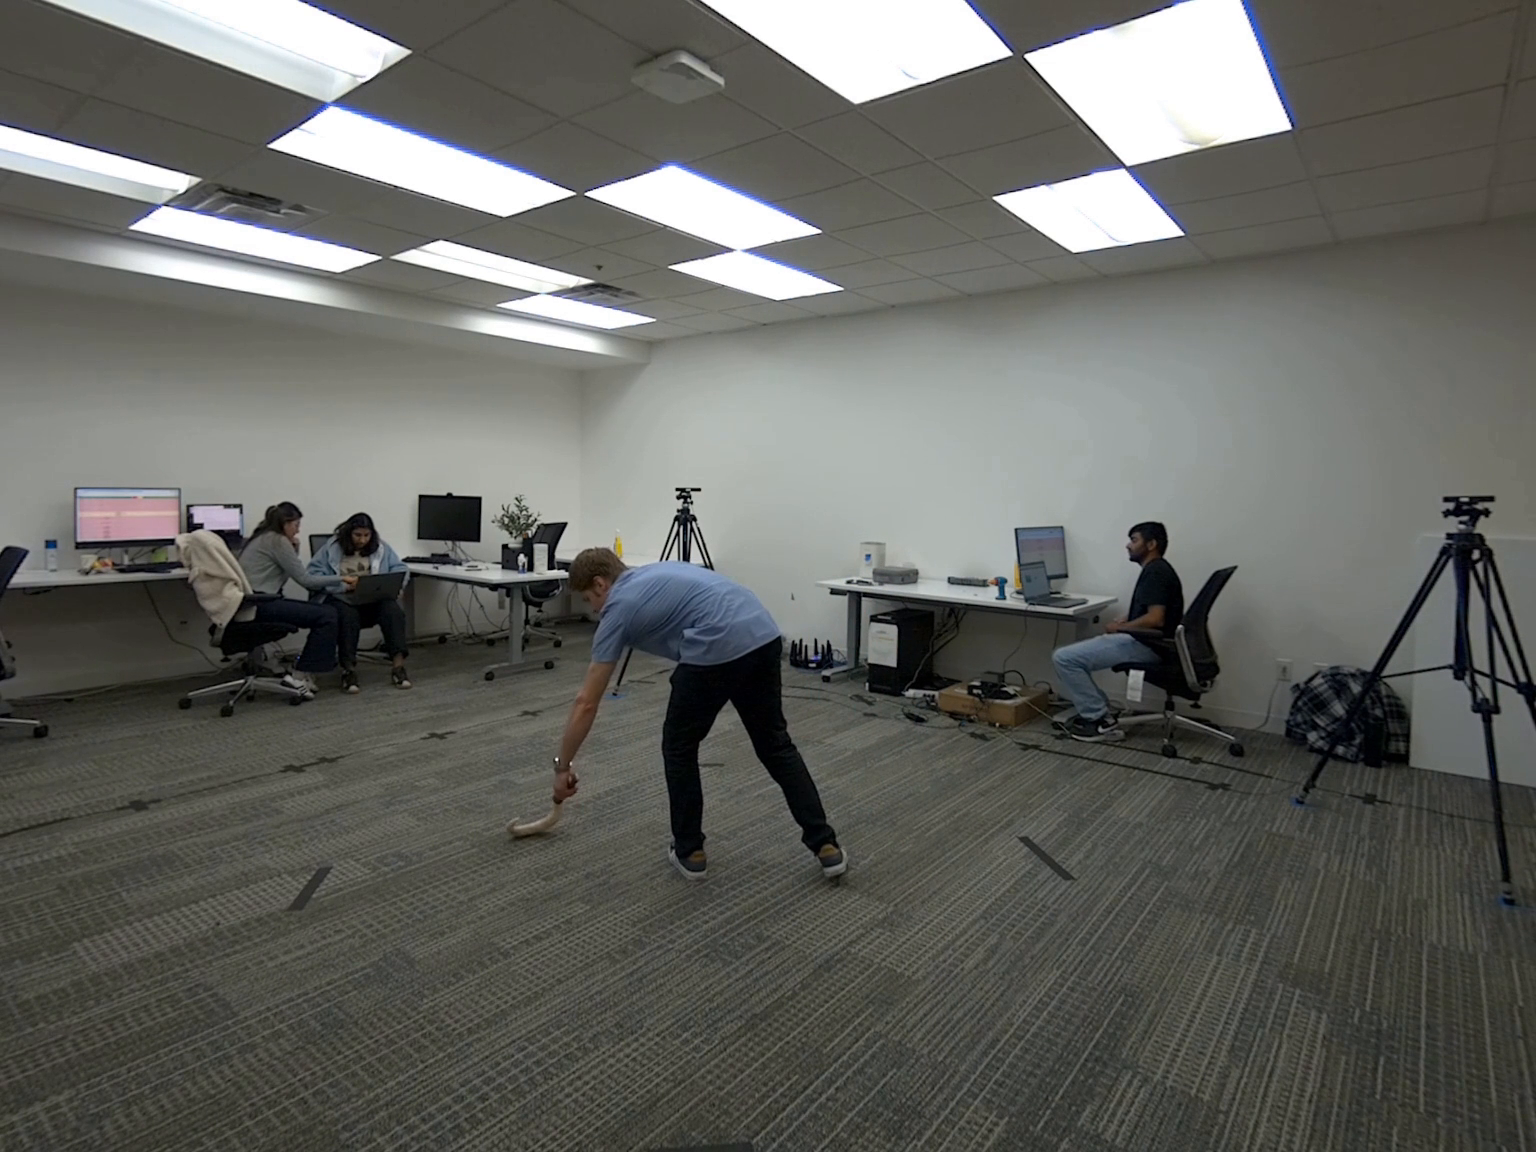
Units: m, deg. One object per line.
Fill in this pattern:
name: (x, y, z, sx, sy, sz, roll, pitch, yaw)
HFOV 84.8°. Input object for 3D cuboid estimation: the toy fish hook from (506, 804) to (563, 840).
toy fish hook: (-0.870, 0.881, 3.229, 0.219, 0.050, 0.503, -7, -33, -37)
